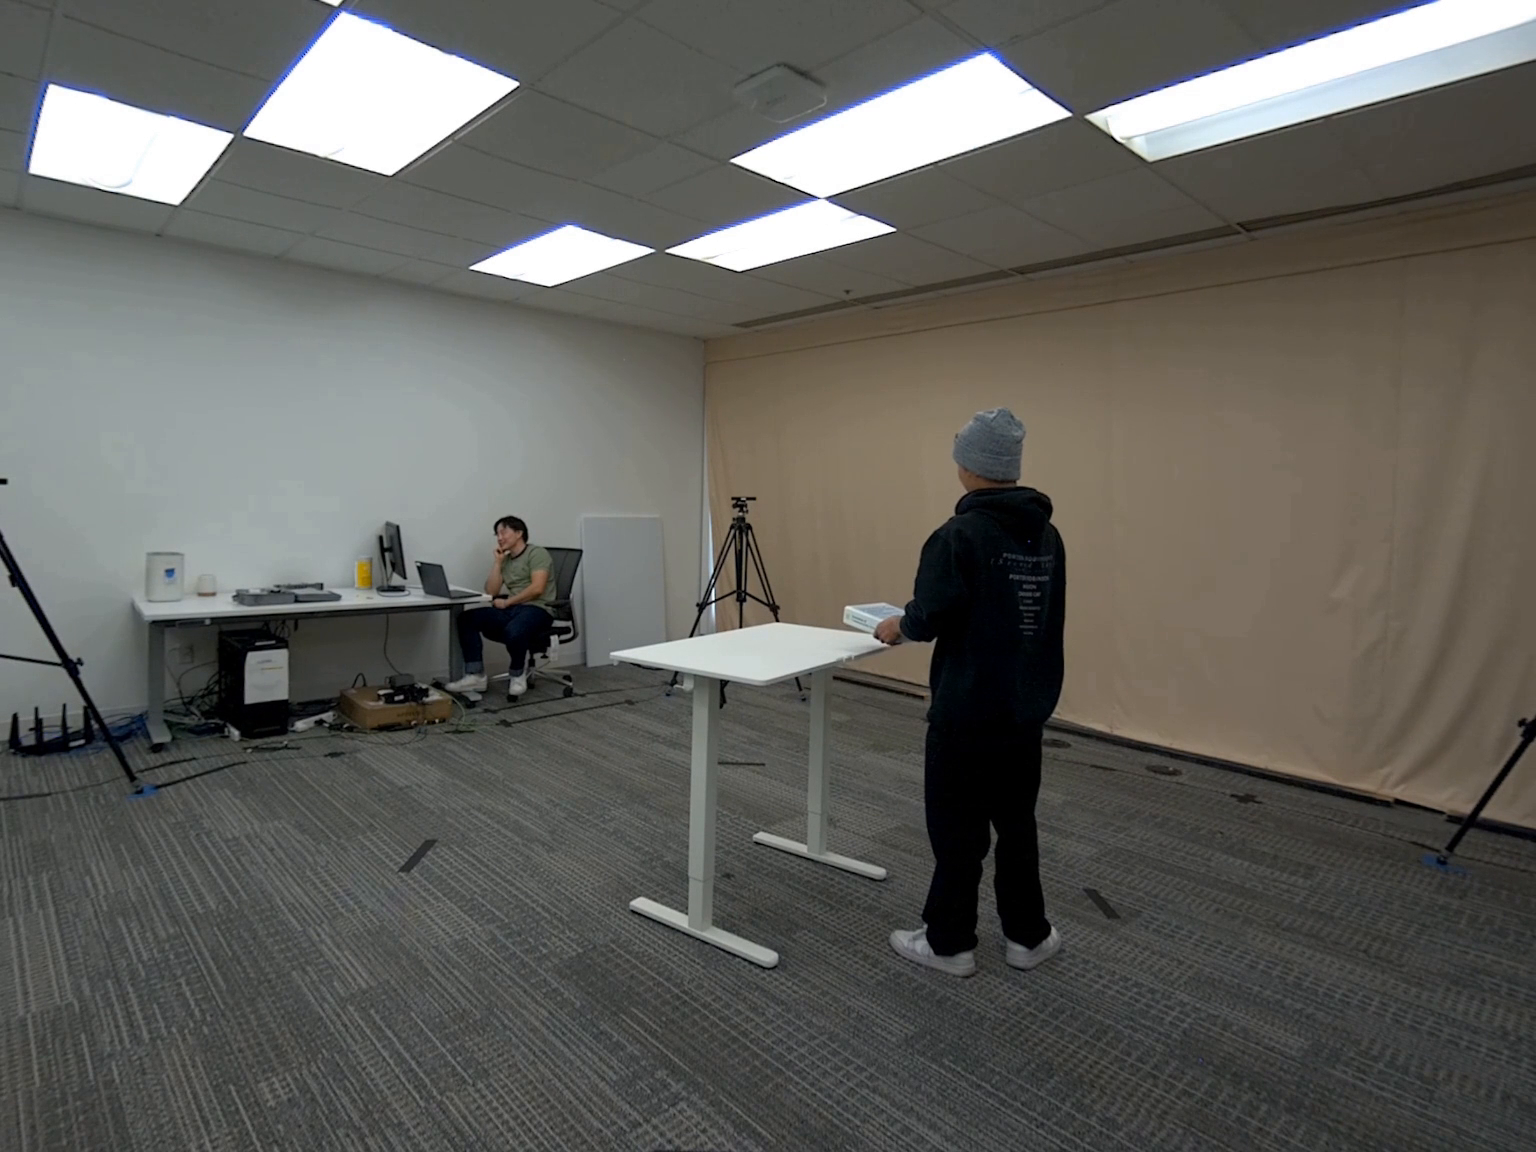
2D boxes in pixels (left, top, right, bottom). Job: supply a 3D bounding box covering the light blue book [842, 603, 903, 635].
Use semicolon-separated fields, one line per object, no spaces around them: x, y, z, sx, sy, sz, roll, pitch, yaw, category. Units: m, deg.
0.419;0.159;2.876;0.188;0.058;0.268;-2;13;-27;light blue book
